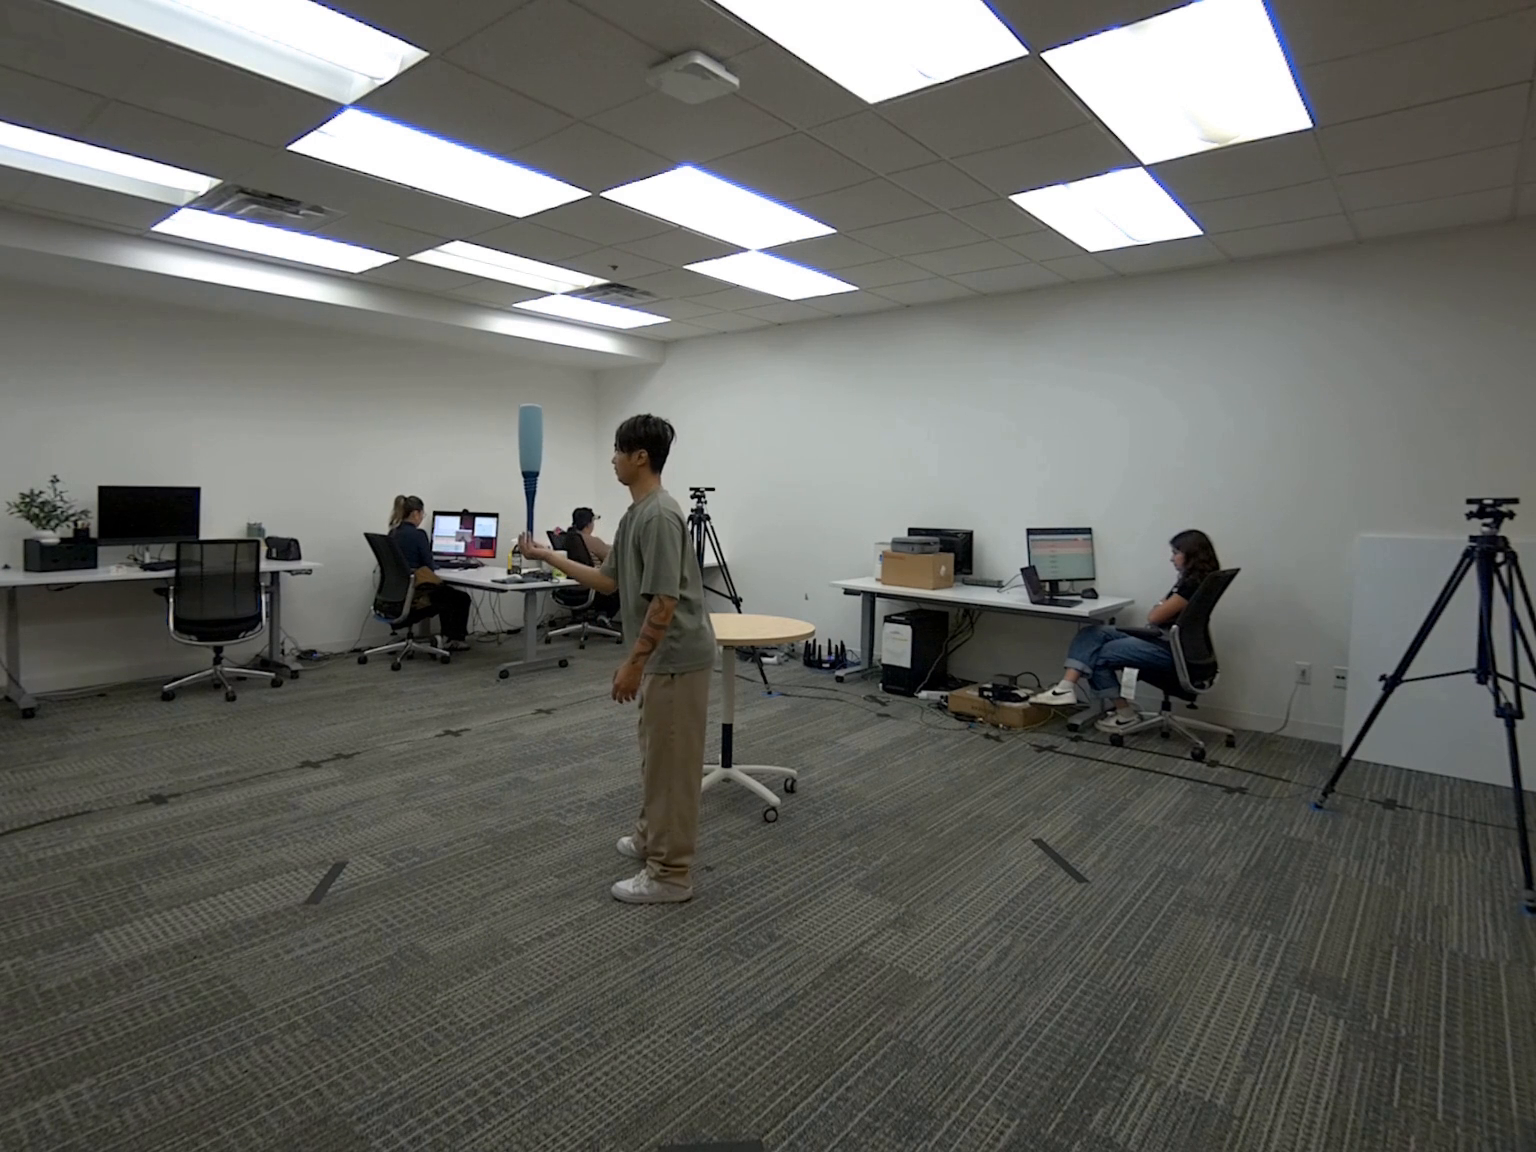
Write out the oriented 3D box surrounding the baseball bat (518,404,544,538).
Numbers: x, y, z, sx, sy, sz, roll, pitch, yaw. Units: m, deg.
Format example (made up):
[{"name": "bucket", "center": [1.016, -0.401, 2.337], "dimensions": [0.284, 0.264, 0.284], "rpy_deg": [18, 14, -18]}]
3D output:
[{"name": "baseball bat", "center": [-0.907, -0.380, 3.168], "dimensions": [0.089, 0.544, 0.089], "rpy_deg": [1, -2, -2]}]
